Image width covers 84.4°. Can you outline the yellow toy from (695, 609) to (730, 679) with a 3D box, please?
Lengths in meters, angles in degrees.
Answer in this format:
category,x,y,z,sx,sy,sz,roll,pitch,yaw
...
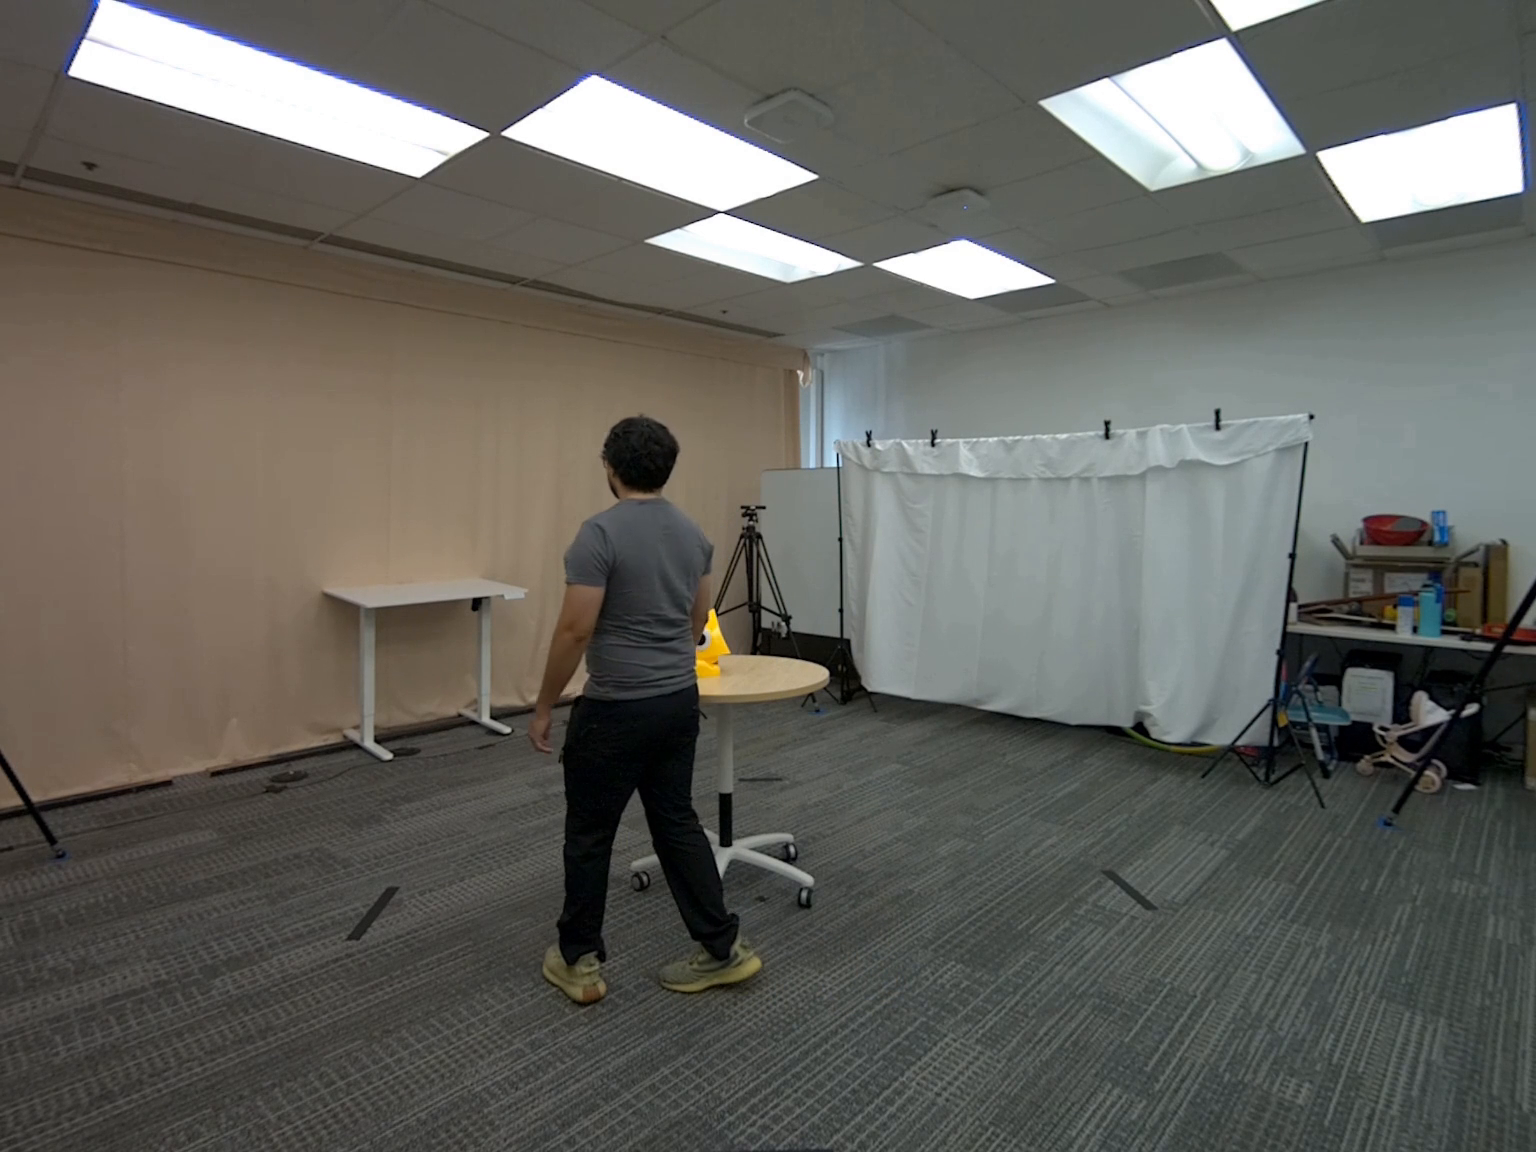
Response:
category,x,y,z,sx,sy,sz,roll,pitch,yaw
yellow toy,-0.248,0.237,3.096,0.189,0.230,0.209,-1,4,-18
